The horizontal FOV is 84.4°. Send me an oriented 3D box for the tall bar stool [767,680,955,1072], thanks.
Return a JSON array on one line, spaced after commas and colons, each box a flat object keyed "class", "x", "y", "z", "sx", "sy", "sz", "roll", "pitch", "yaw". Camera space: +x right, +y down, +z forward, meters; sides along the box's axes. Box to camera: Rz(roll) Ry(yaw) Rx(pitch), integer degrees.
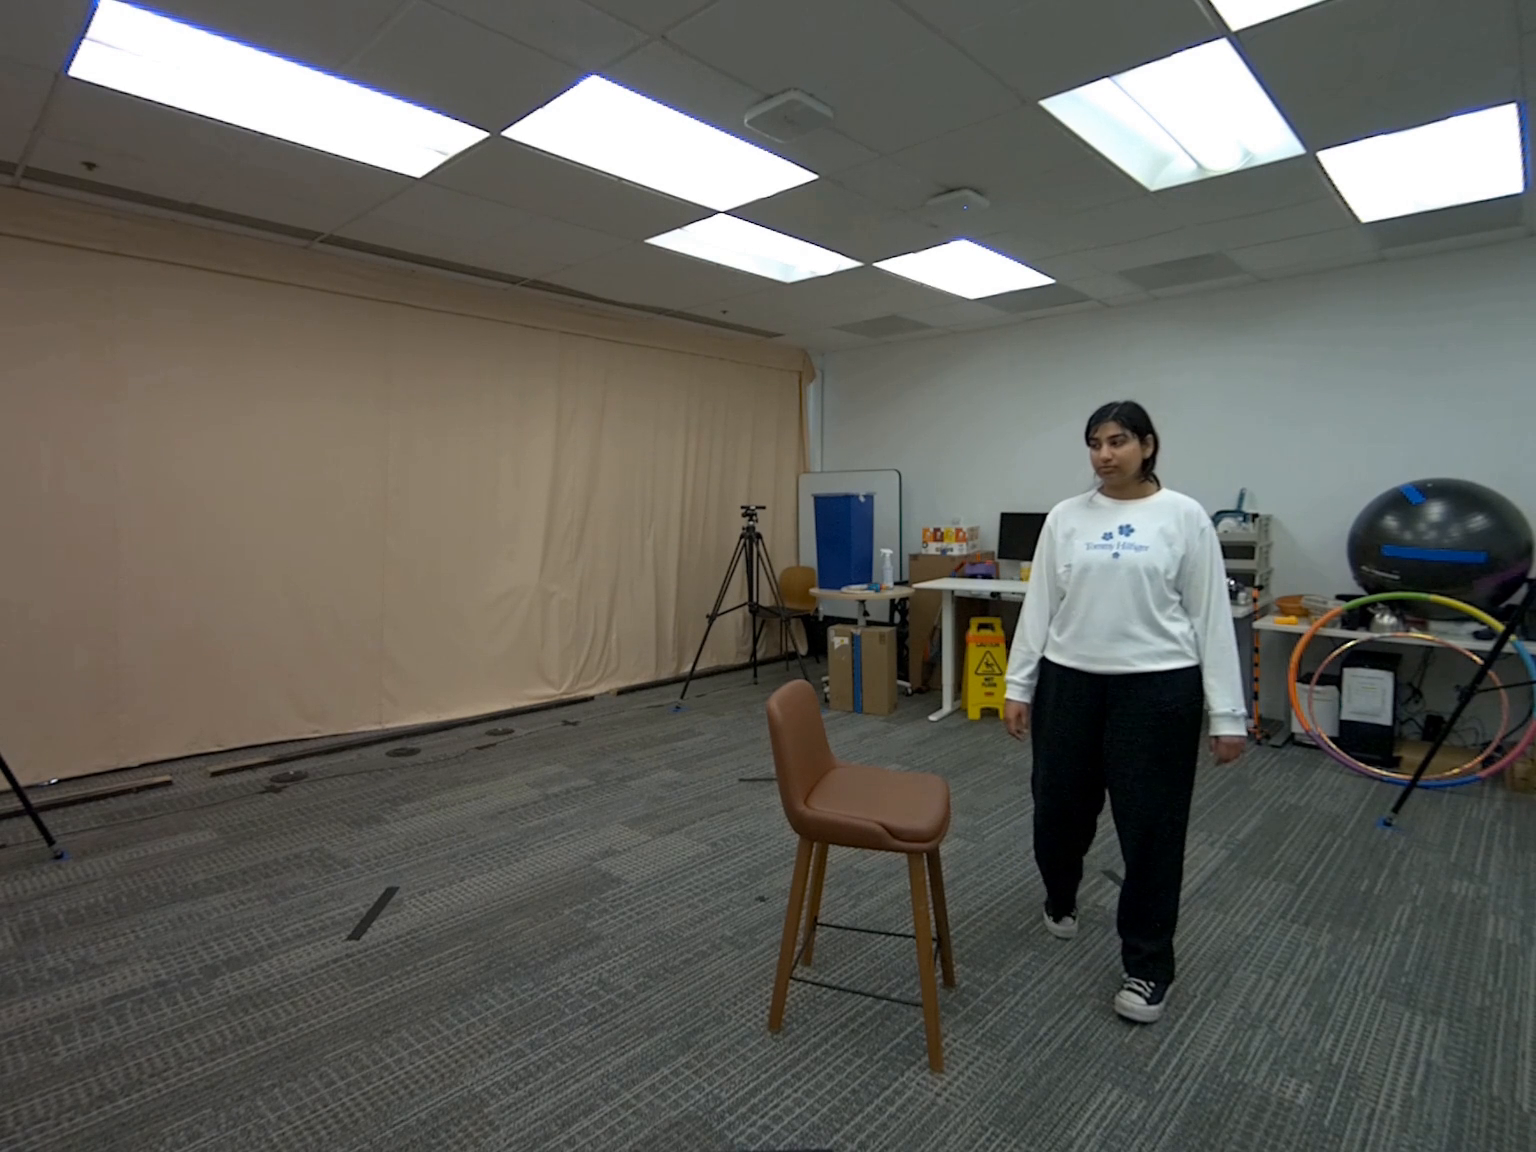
[{"class": "tall bar stool", "x": 0.274, "y": 0.768, "z": 2.309, "sx": 0.478, "sy": 0.888, "sz": 0.447, "roll": 0, "pitch": 3, "yaw": 20}]
